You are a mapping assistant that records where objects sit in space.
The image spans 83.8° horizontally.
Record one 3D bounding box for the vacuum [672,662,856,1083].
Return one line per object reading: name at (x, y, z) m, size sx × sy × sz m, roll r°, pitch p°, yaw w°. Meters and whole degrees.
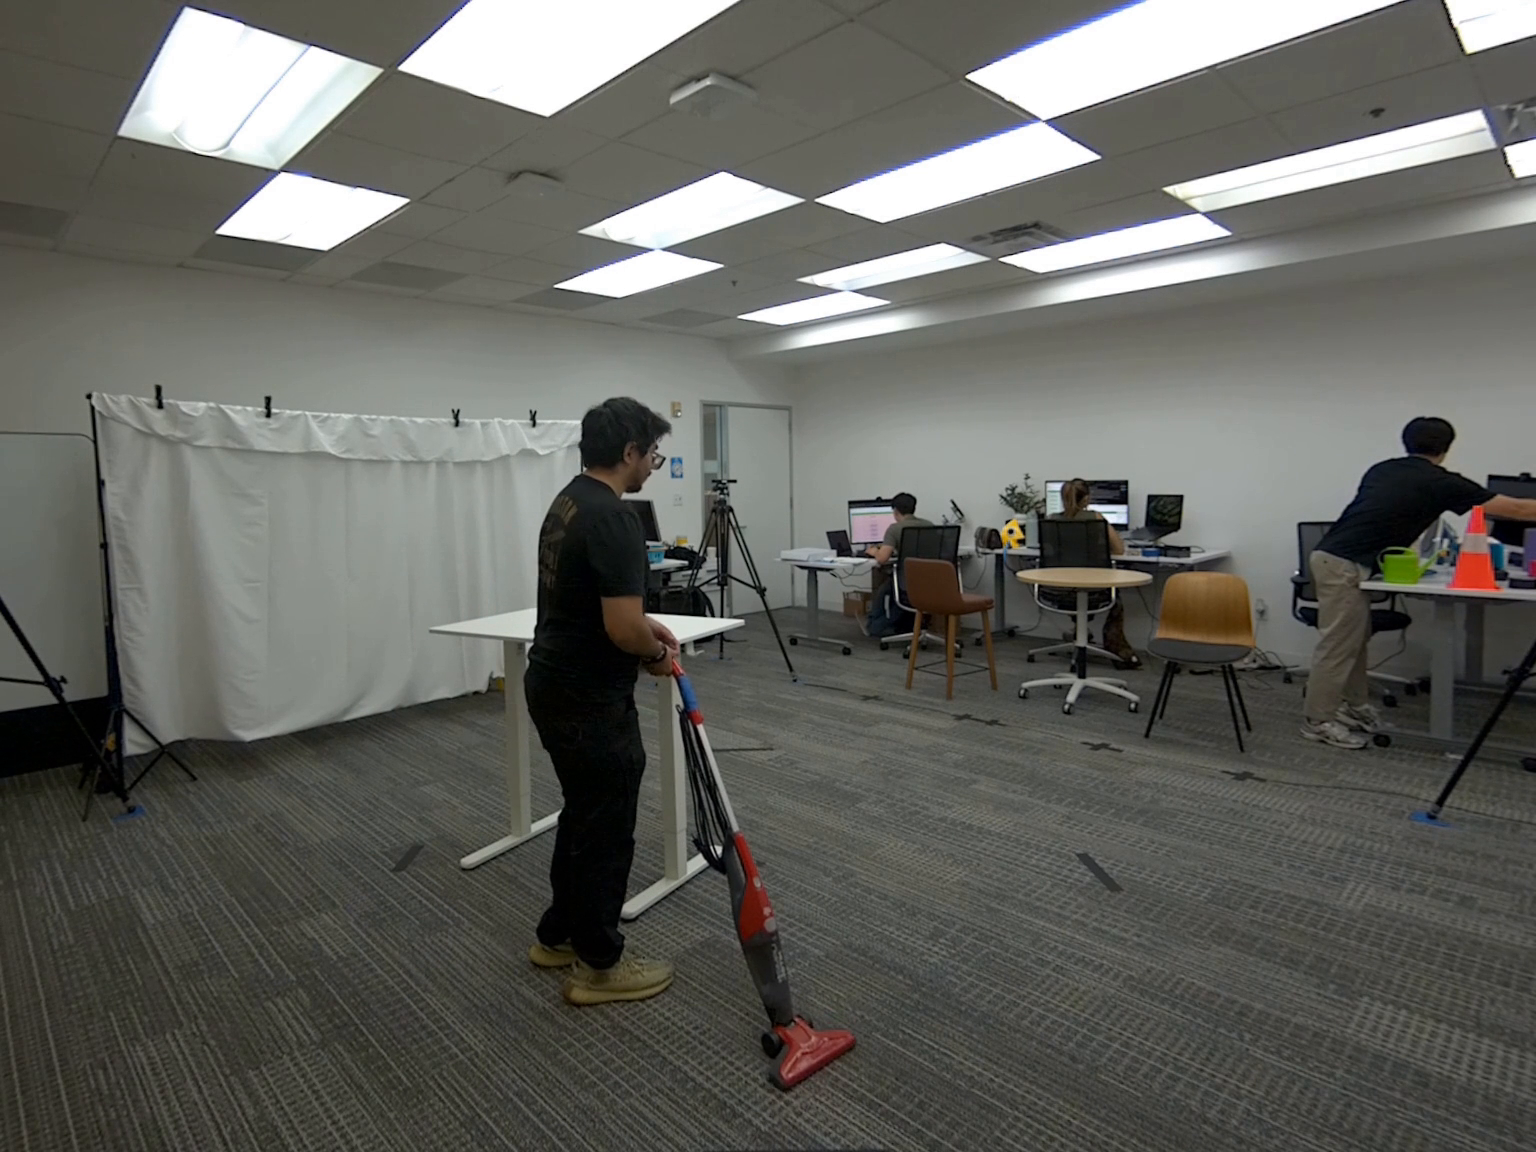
vacuum at (-0.107, 0.683, 2.268) m, size 0.145 × 1.074 × 0.245 m, roll -37°, pitch -24°, yaw 31°
